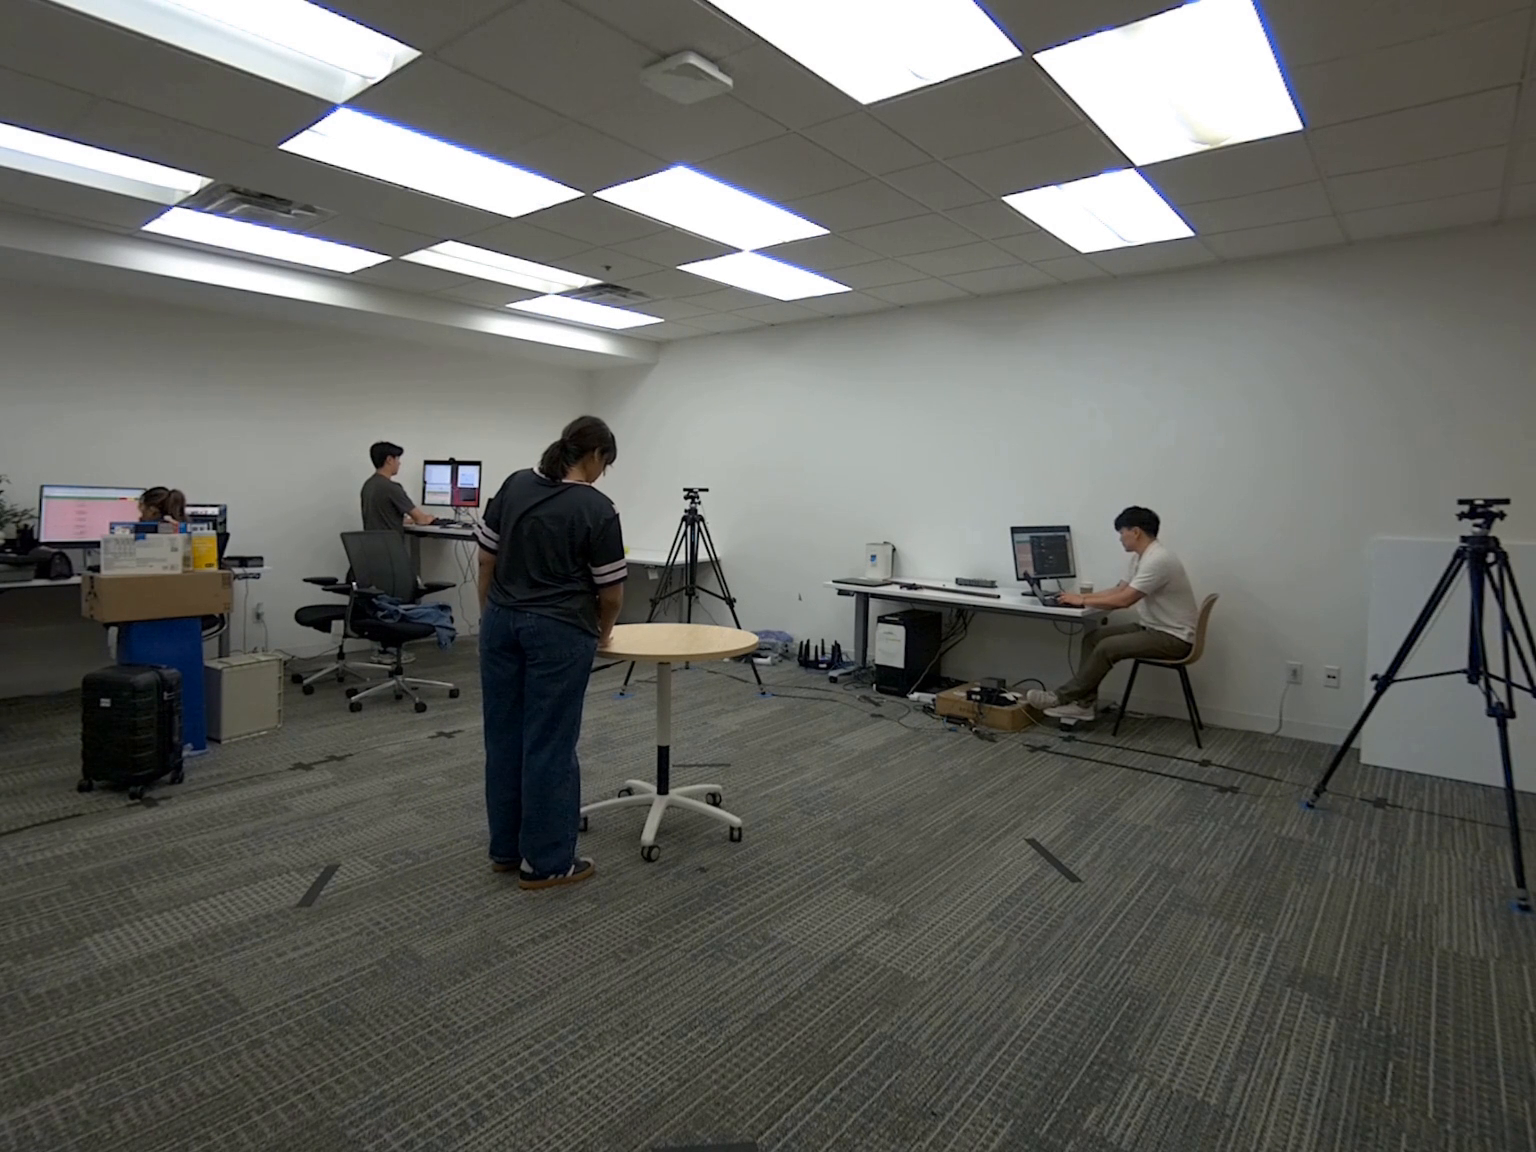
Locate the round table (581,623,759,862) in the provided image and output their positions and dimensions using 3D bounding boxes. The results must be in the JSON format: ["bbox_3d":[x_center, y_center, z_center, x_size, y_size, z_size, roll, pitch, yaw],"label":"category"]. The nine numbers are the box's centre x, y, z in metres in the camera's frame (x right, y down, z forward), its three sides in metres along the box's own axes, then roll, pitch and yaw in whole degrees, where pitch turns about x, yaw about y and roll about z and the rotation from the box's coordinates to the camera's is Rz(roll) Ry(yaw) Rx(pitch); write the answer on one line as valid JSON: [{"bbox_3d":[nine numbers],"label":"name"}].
[{"bbox_3d":[-0.450,0.636,3.479,0.784,0.784,0.788,1,4,-2],"label":"round table"}]
